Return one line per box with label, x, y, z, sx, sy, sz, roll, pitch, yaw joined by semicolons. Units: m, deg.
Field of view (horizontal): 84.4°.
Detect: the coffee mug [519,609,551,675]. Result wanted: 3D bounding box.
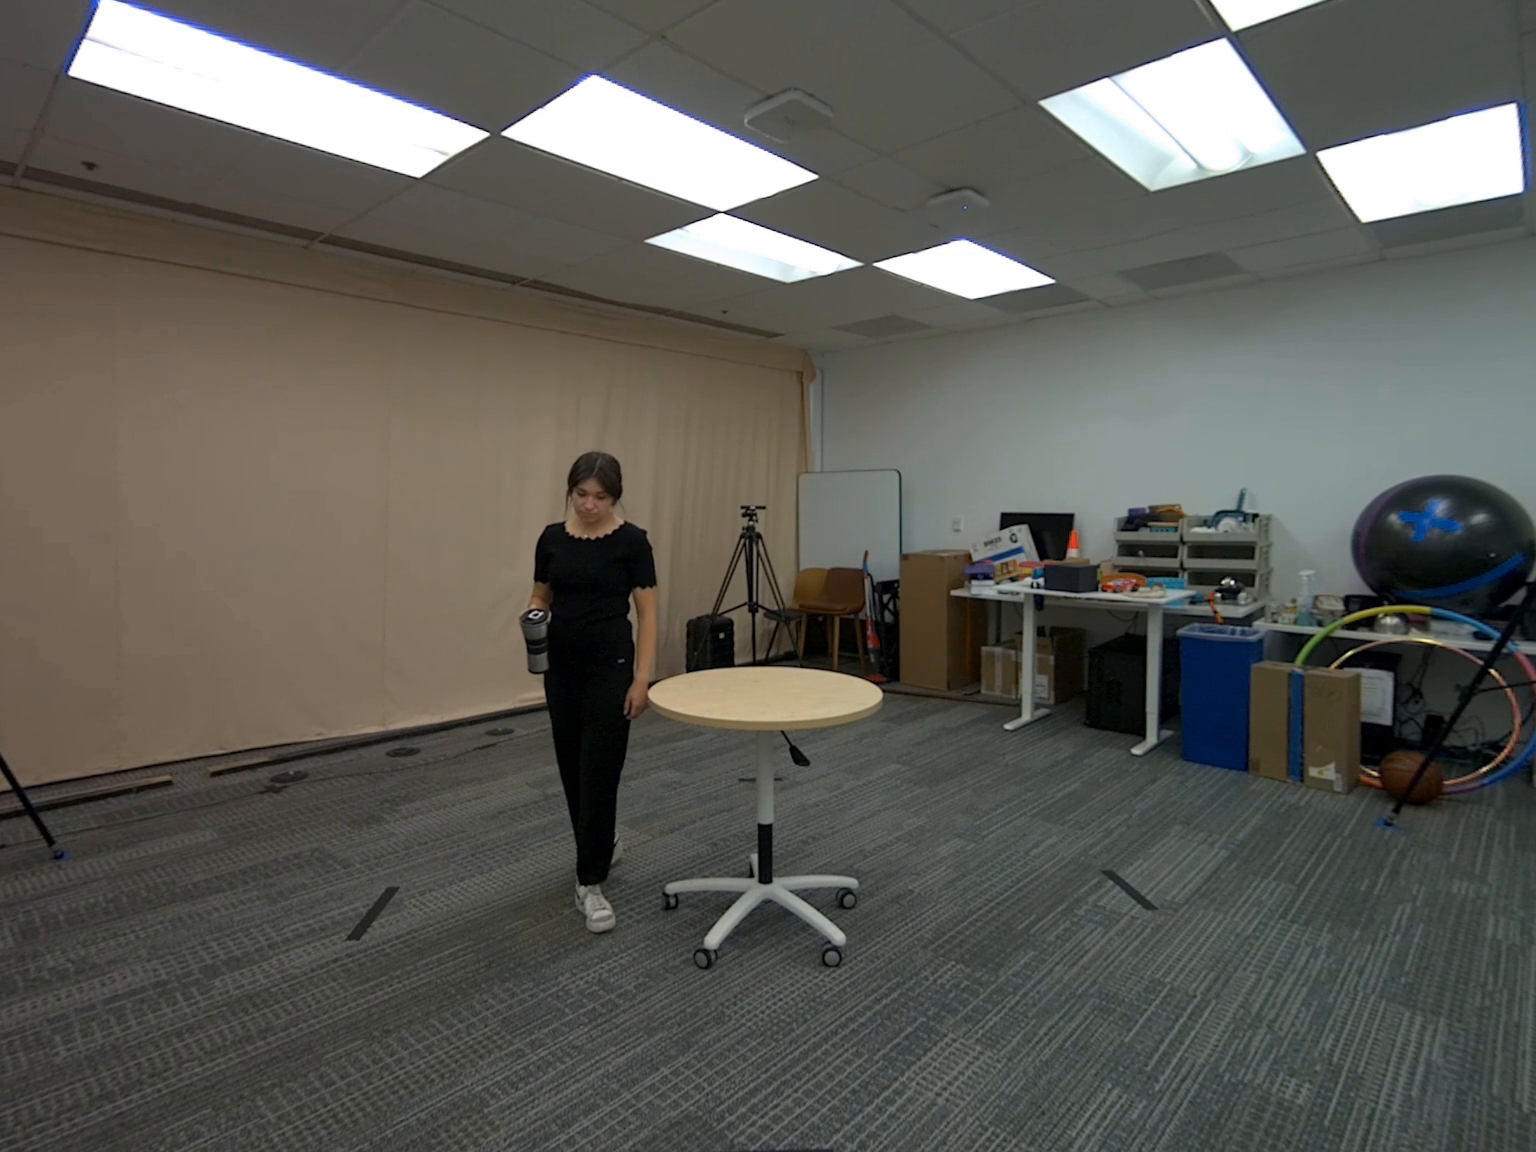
coffee mug;-0.751;0.214;2.766;0.091;0.200;0.119;13;29;38
